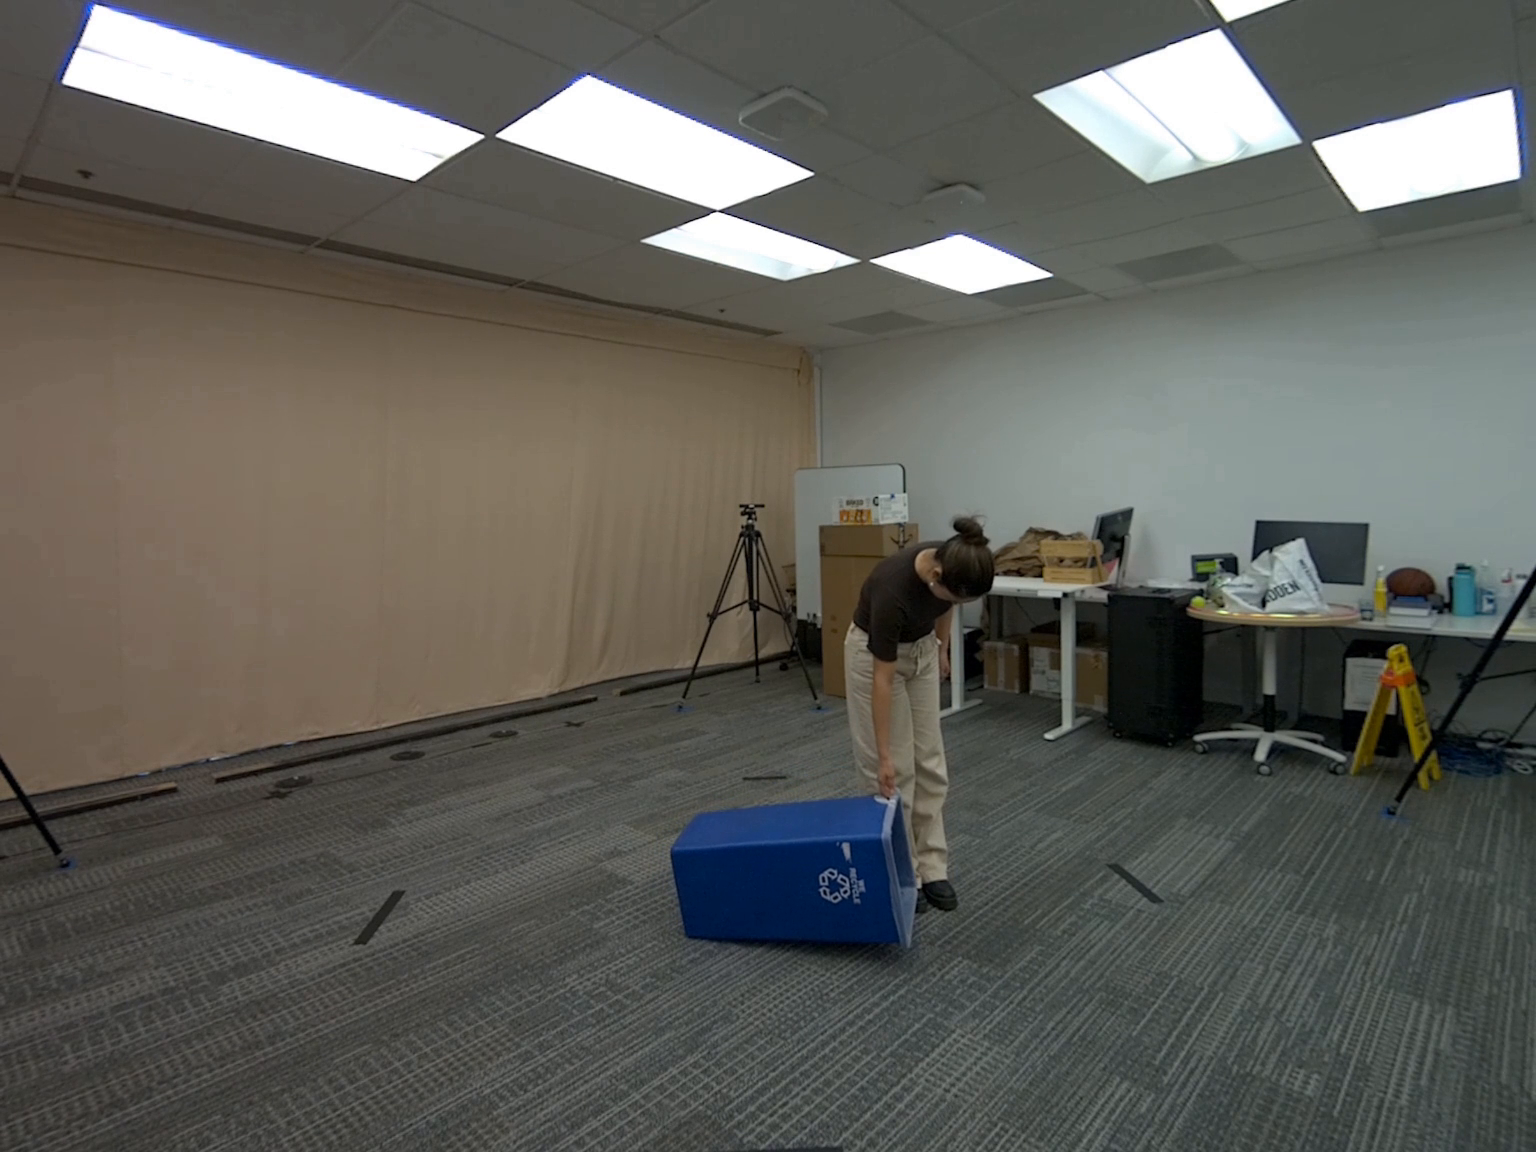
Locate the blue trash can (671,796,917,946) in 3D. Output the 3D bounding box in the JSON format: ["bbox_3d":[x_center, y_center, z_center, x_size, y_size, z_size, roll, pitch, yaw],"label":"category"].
[{"bbox_3d":[0.088,0.956,2.736,0.727,0.373,0.372,-8,4,19],"label":"blue trash can"}]
